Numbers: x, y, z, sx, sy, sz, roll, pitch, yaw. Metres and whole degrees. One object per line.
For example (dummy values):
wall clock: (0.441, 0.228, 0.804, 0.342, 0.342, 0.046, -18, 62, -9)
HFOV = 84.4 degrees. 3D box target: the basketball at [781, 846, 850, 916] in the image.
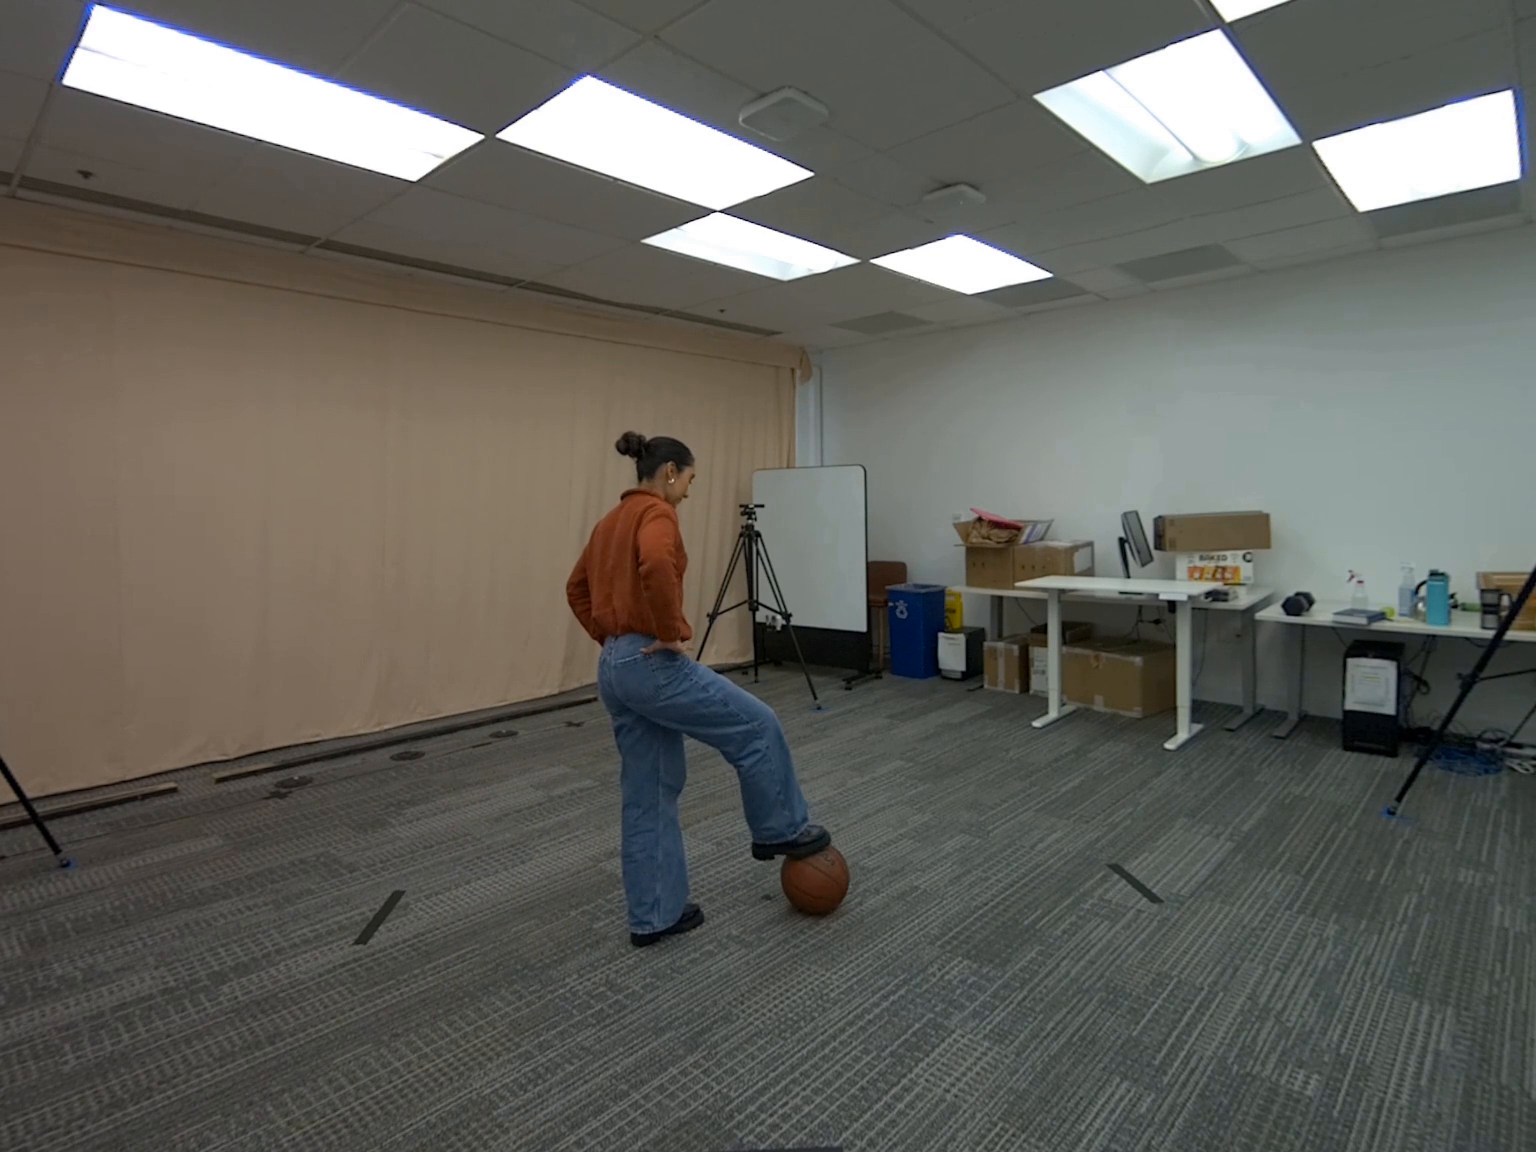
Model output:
basketball: (0.156, 1.027, 2.878, 0.236, 0.235, 0.237, -1, 4, -2)
